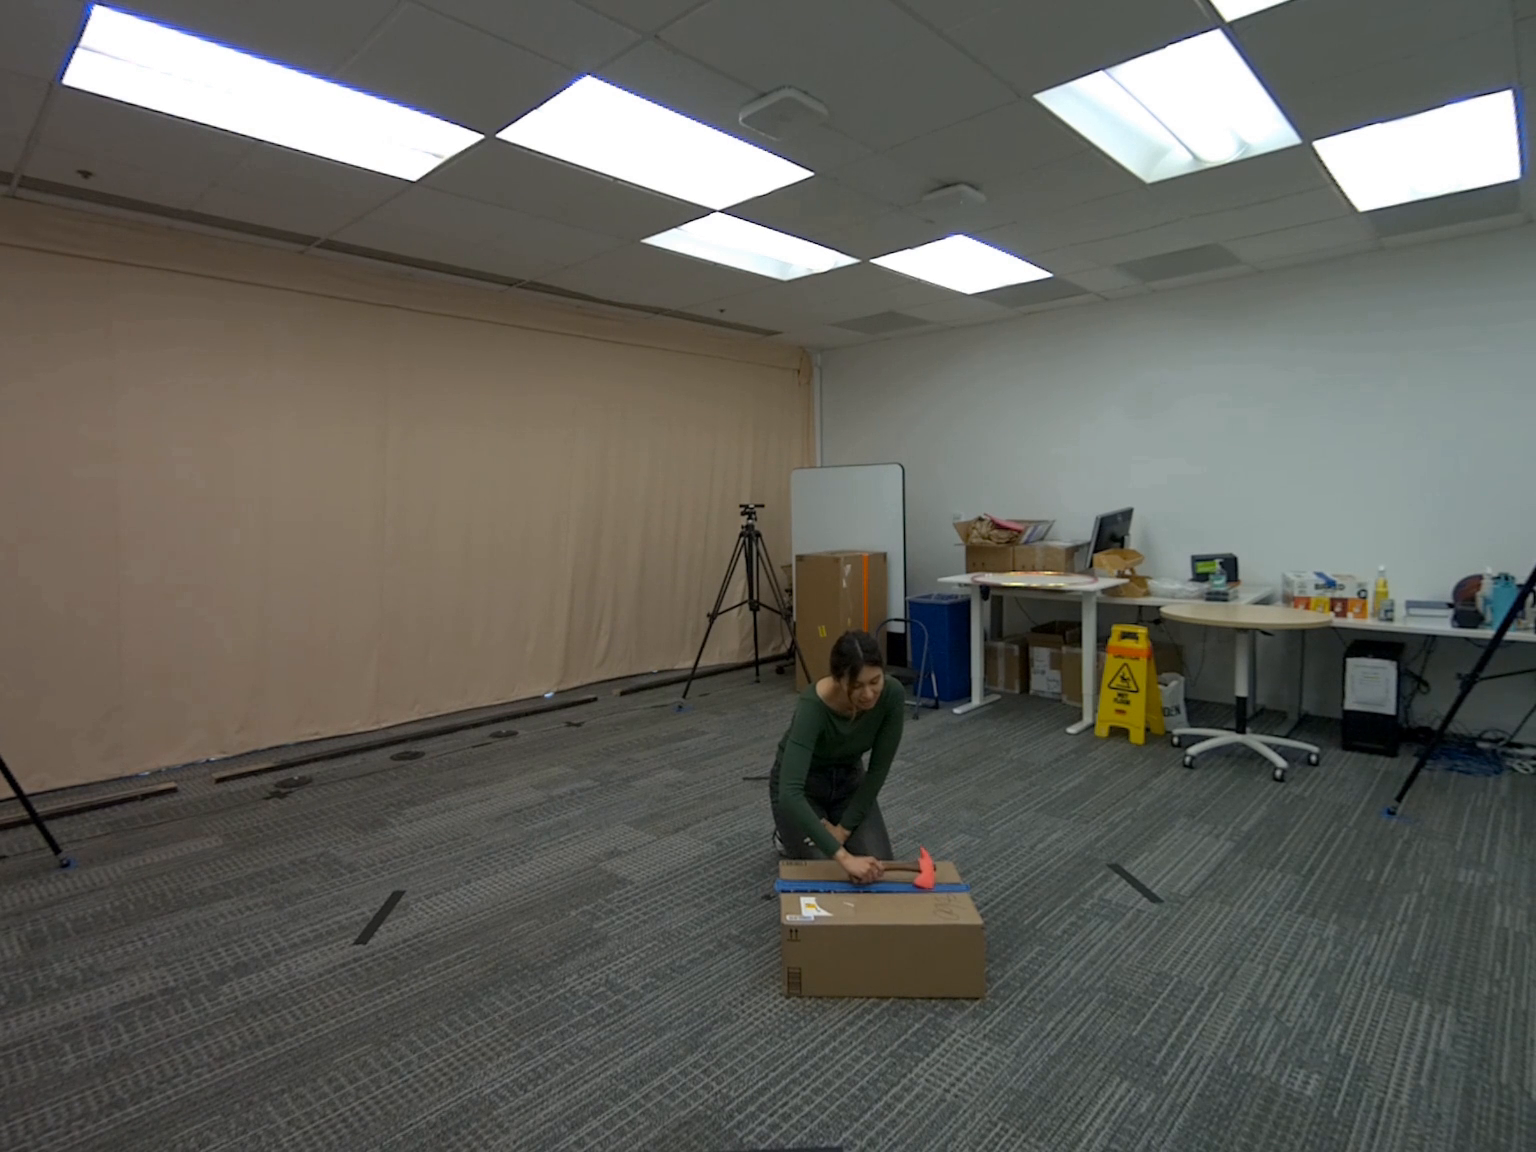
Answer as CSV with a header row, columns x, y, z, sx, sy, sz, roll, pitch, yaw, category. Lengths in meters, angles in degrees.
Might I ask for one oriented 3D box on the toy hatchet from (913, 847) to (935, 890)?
x,y,z,sx,sy,sz,roll,pitch,yaw,category
0.396,0.911,2.555,0.266,0.029,0.135,-12,46,-16,toy hatchet
